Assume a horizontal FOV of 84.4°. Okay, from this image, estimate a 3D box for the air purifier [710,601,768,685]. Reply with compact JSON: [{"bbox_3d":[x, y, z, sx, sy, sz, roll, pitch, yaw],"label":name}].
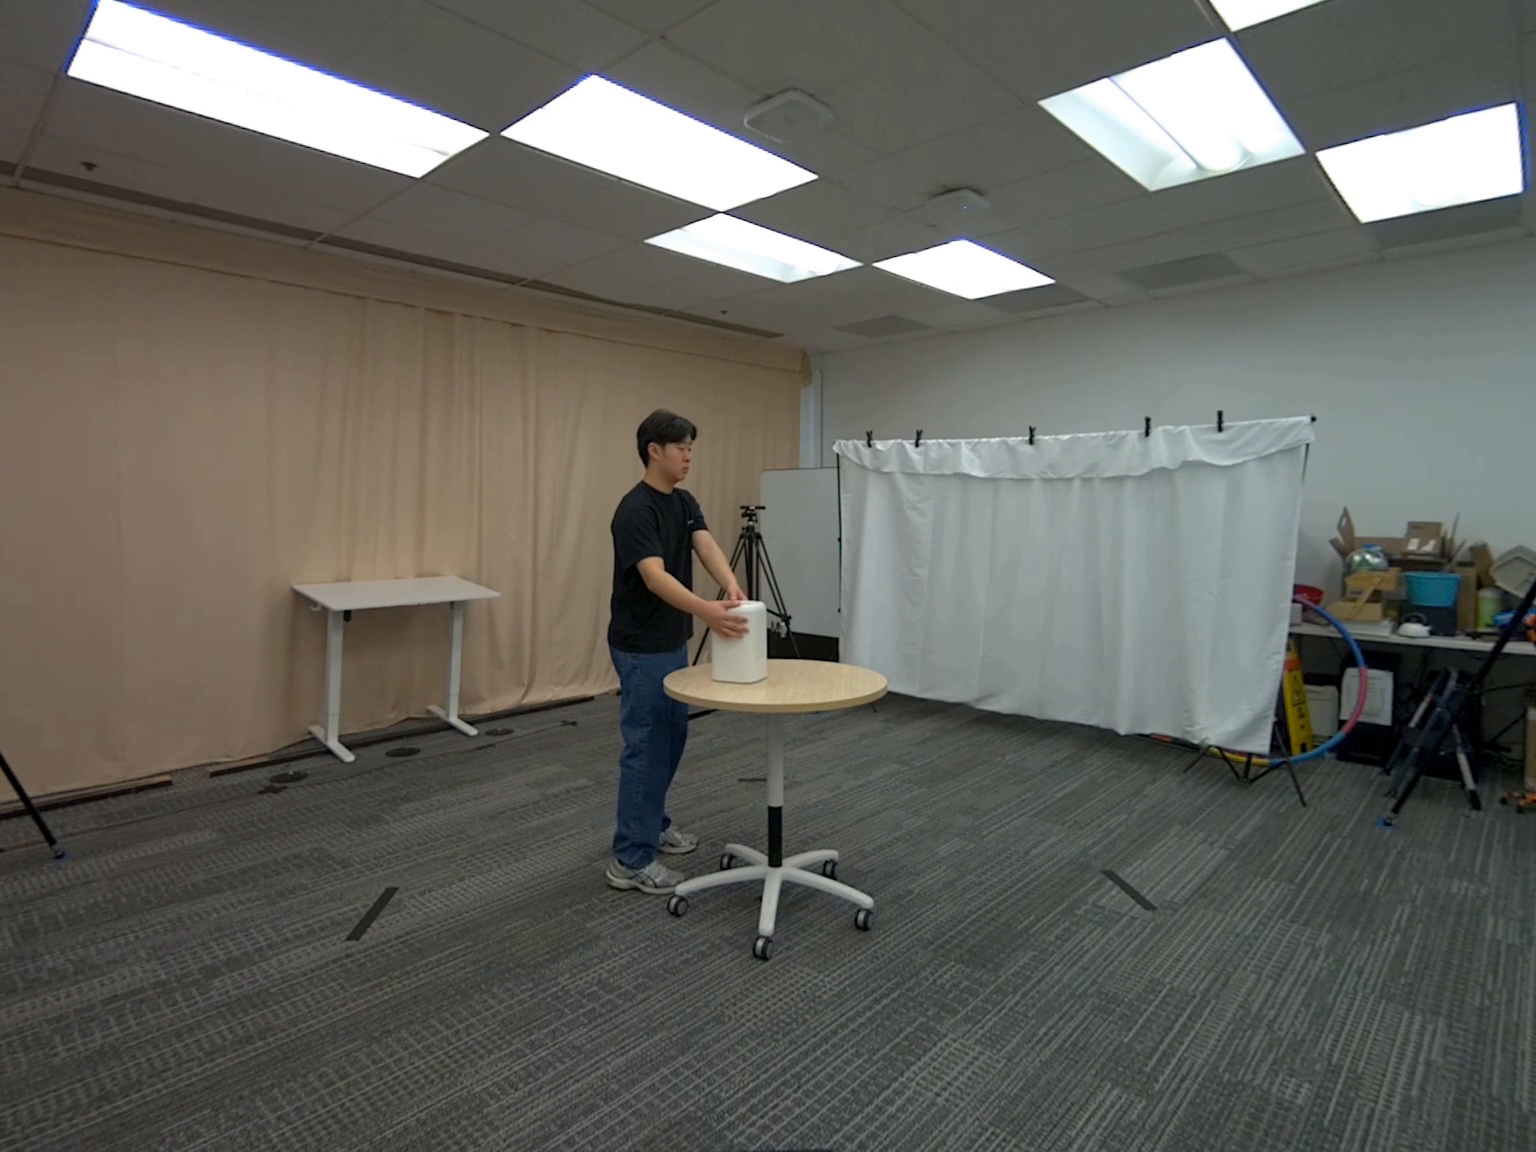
[{"bbox_3d":[-0.092,0.222,2.907,0.175,0.265,0.168,0,3,24],"label":"air purifier"}]
